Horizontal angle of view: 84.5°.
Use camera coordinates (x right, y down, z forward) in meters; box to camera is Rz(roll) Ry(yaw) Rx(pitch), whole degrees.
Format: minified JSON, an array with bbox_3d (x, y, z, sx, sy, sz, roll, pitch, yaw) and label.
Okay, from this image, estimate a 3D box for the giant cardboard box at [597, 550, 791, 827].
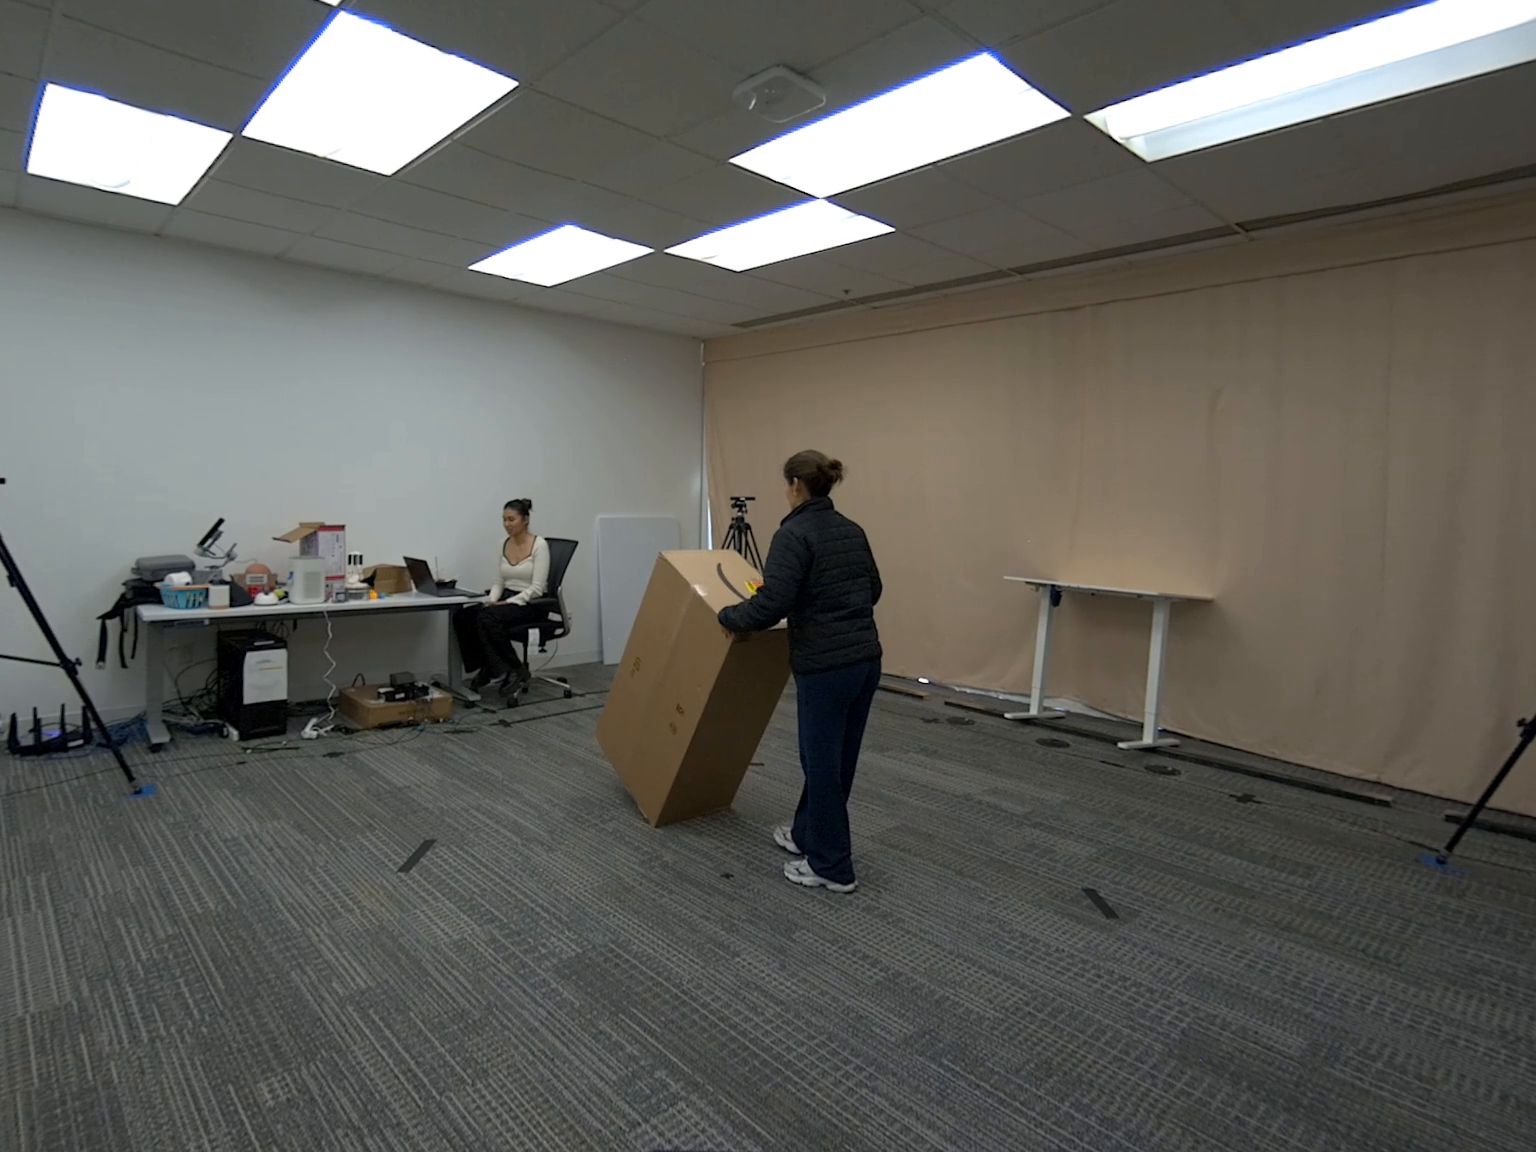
[{"bbox_3d":[-0.319,0.474,3.647,0.436,1.018,0.603,1,32,-41],"label":"giant cardboard box"}]
